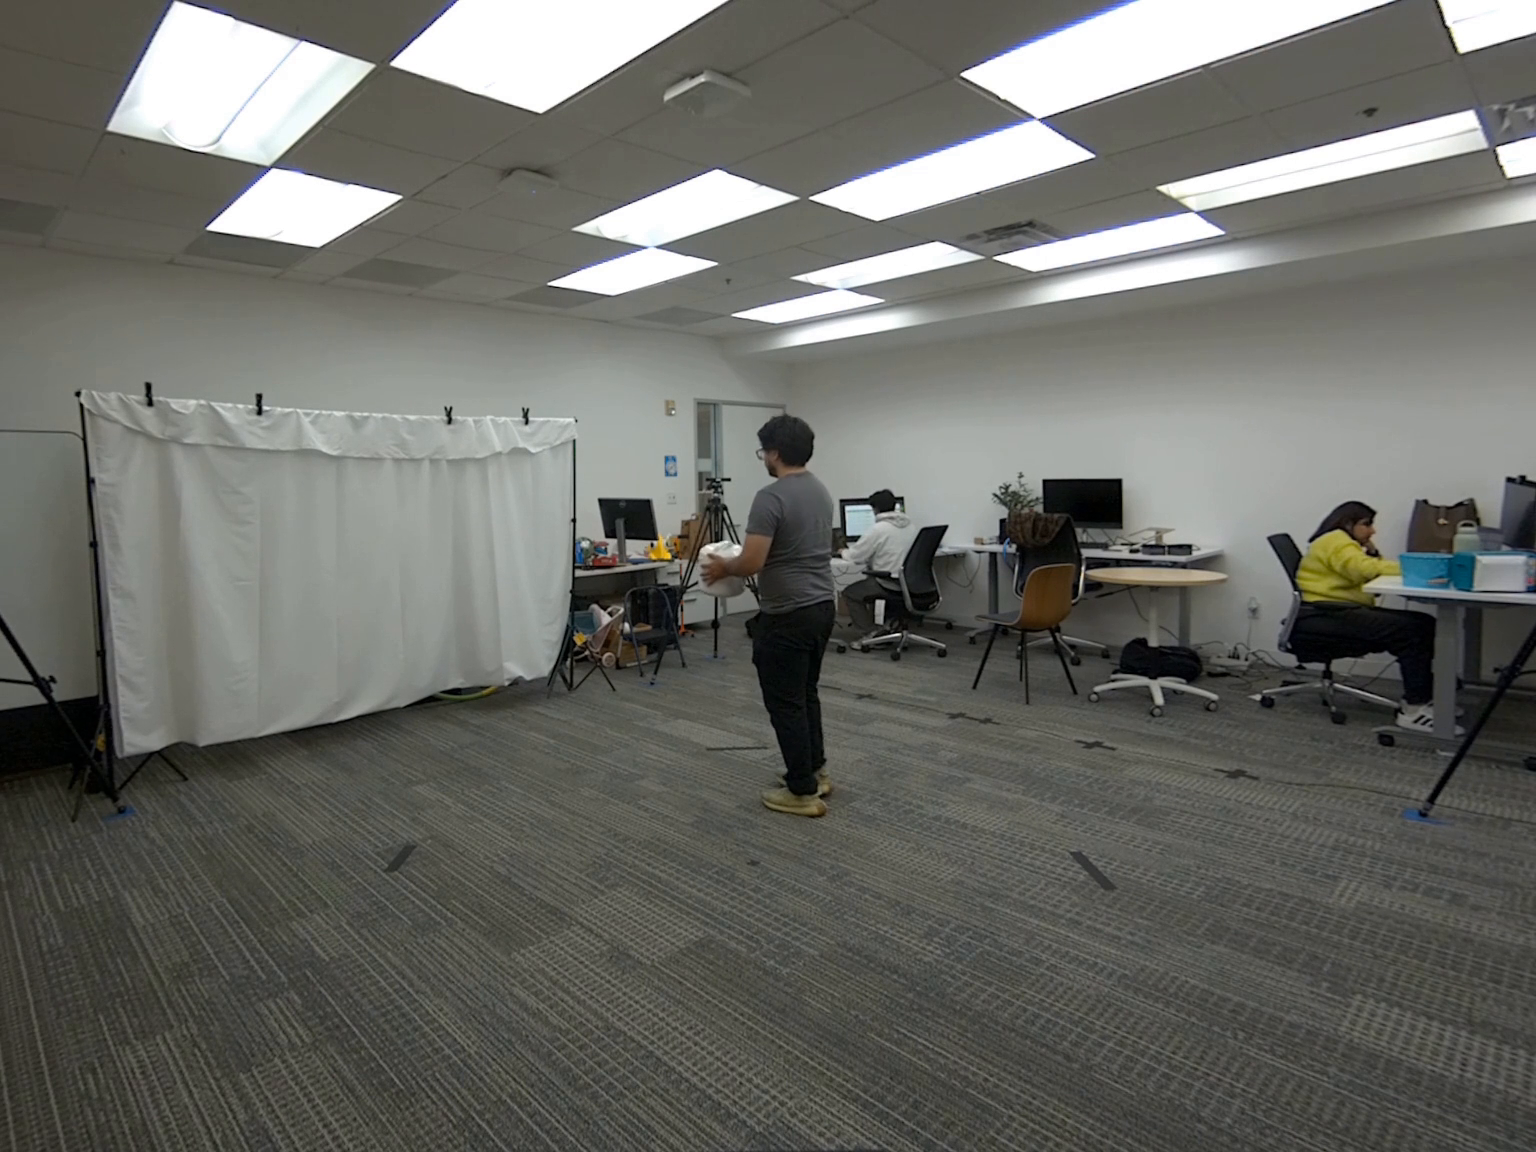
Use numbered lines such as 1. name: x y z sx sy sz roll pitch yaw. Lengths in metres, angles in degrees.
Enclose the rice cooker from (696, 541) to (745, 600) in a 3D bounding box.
1. rice cooker: -0.188 -0.040 3.742 0.223 0.230 0.217 8 16 27
